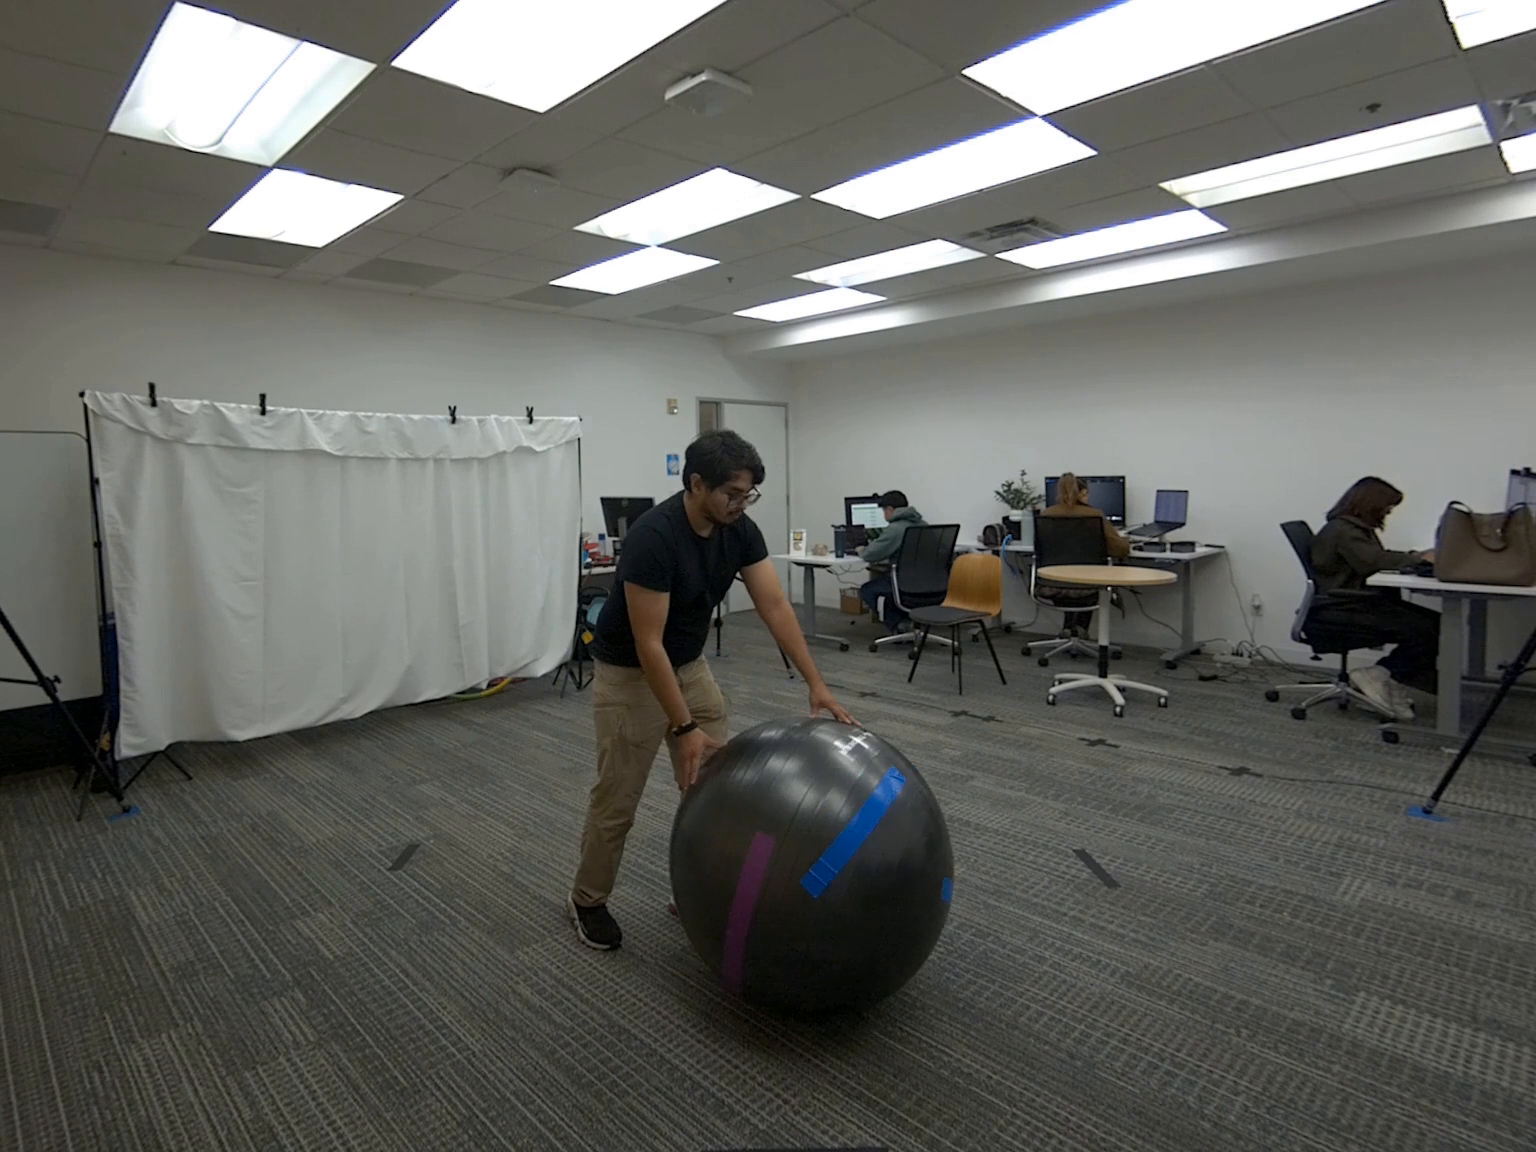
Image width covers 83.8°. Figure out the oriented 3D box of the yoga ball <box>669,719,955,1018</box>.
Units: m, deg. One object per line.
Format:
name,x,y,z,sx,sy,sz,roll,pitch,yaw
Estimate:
yoga ball,0.121,0.771,2.300,0.757,0.755,0.762,-1,5,-2
